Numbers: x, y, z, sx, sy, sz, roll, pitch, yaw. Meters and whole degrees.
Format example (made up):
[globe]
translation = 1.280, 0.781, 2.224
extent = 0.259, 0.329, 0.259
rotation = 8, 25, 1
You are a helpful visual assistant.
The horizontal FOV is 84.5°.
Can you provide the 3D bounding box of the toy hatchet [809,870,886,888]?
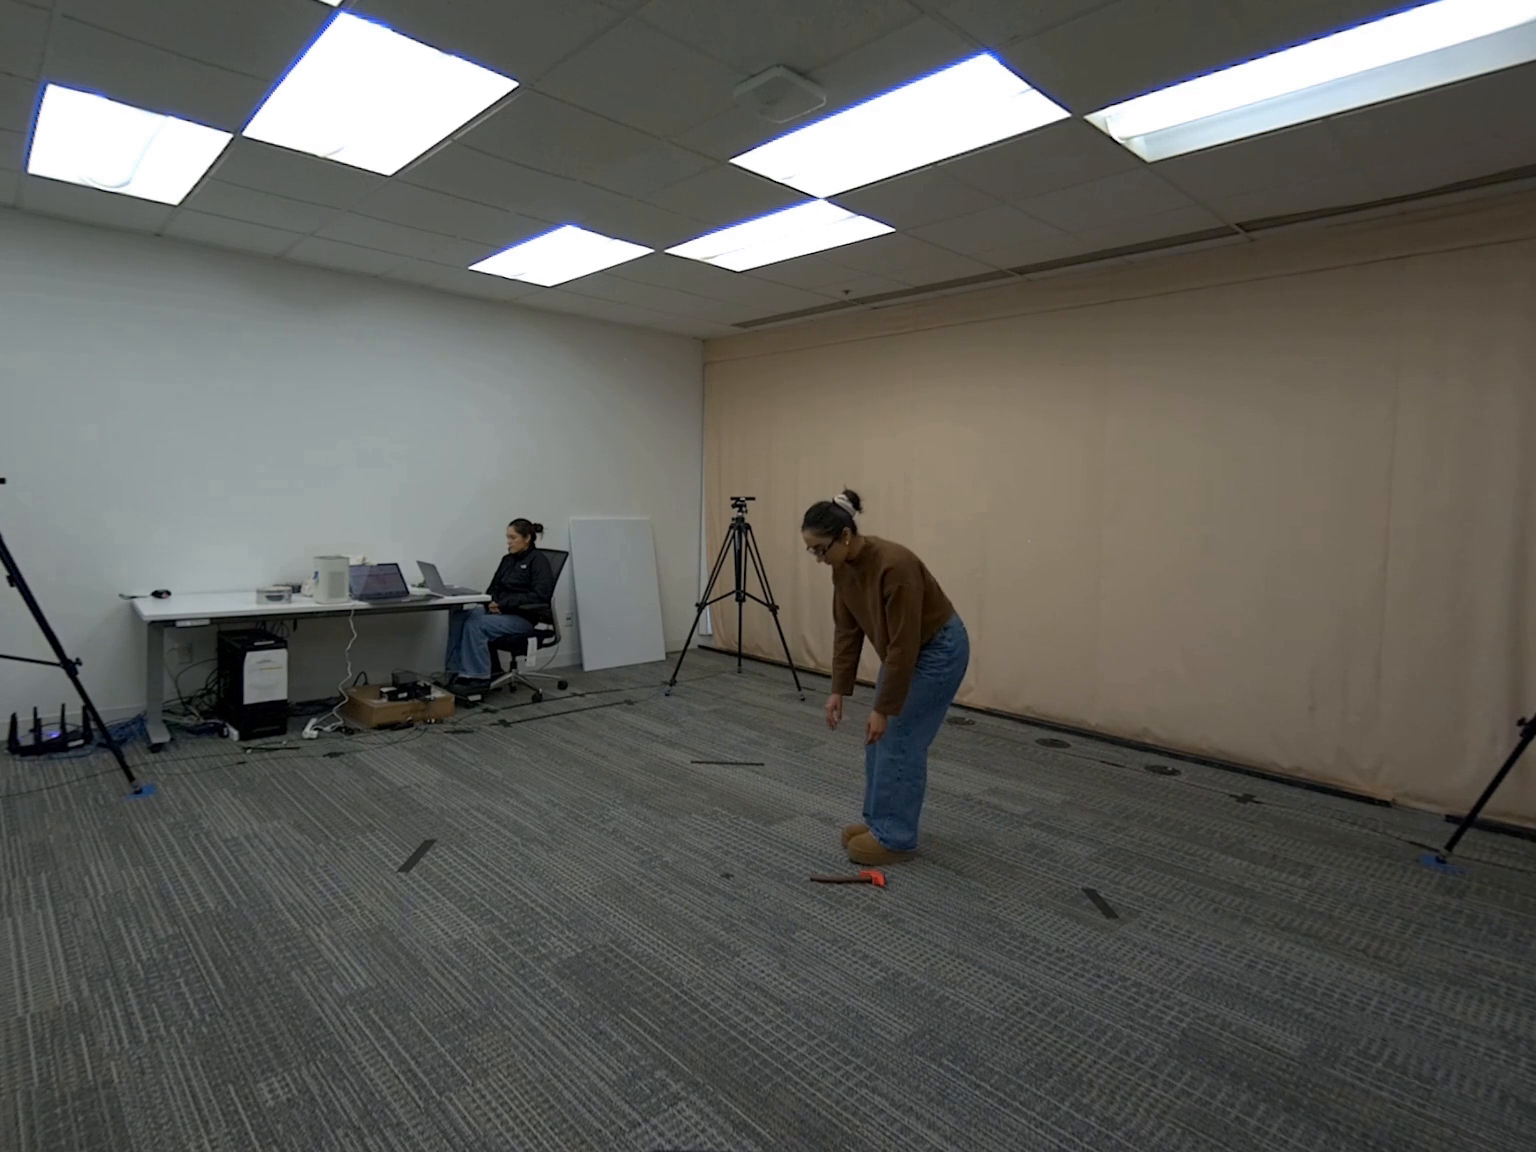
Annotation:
[toy hatchet]
translation = 0.291, 1.105, 3.103
extent = 0.273, 0.029, 0.130
rotation = 1, 4, 12
